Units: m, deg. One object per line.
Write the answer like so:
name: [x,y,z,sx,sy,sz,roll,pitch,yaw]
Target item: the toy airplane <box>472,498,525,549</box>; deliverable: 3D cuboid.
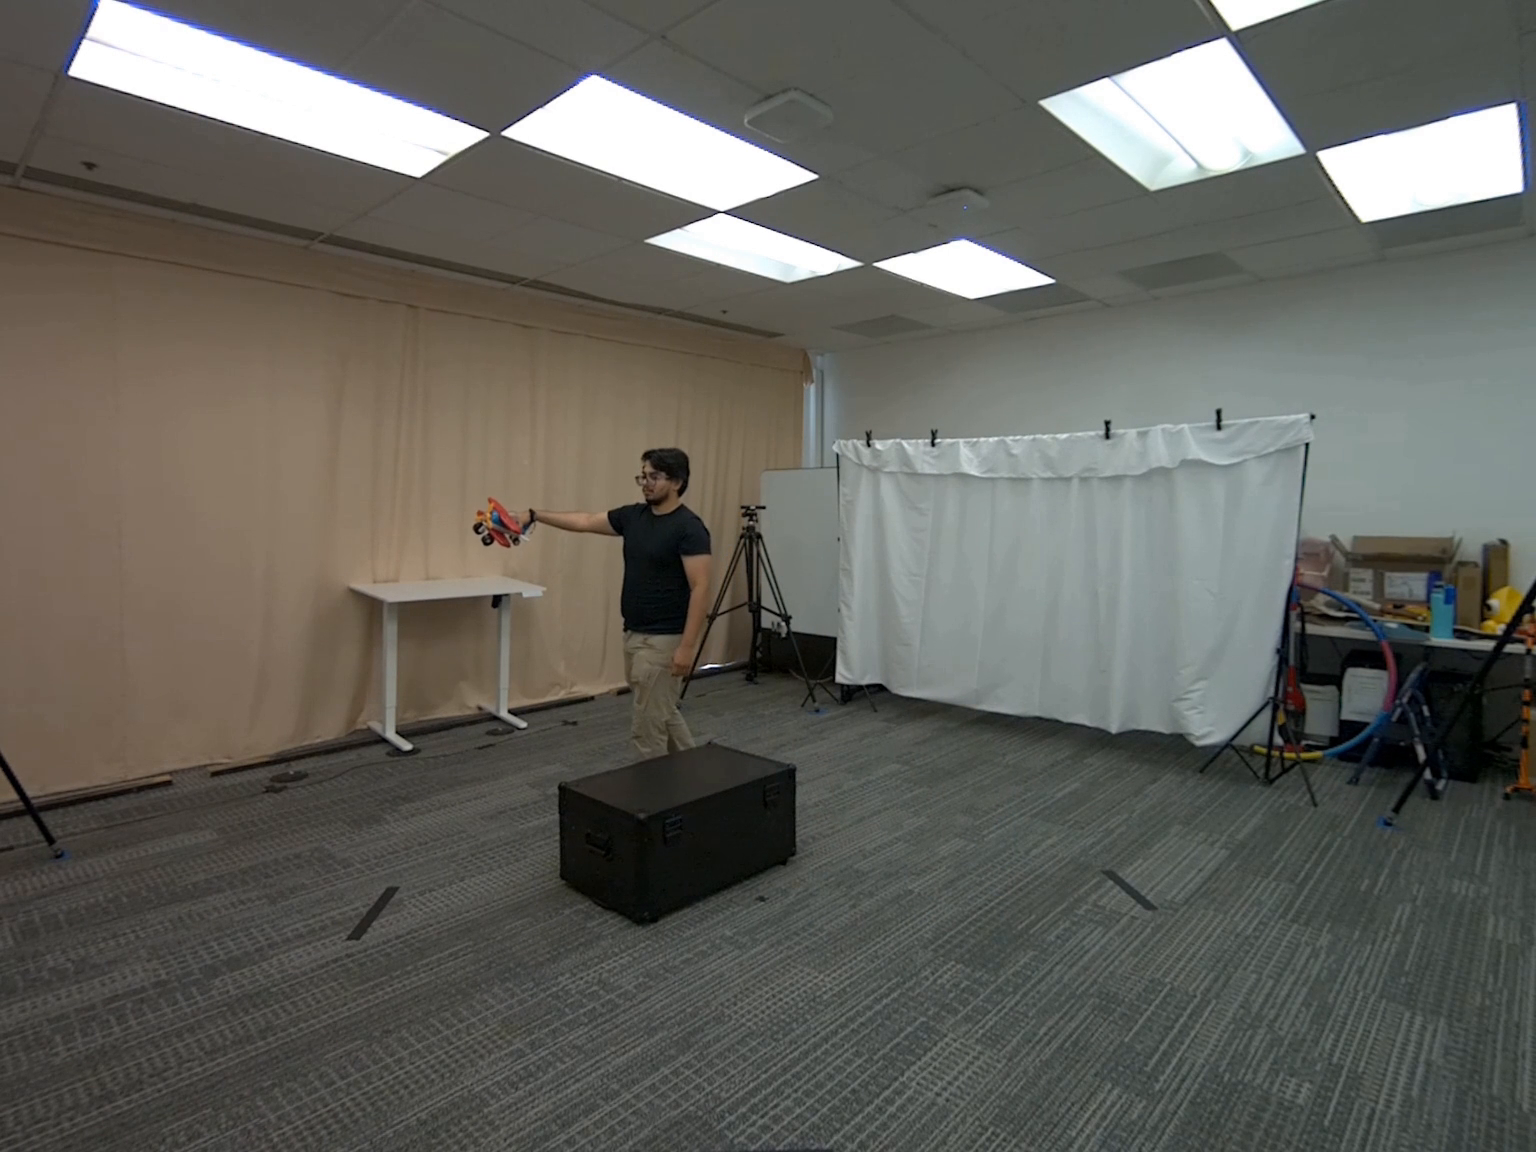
toy airplane: [-1.200,-0.229,3.787,0.253,0.156,0.257,35,19,4]
